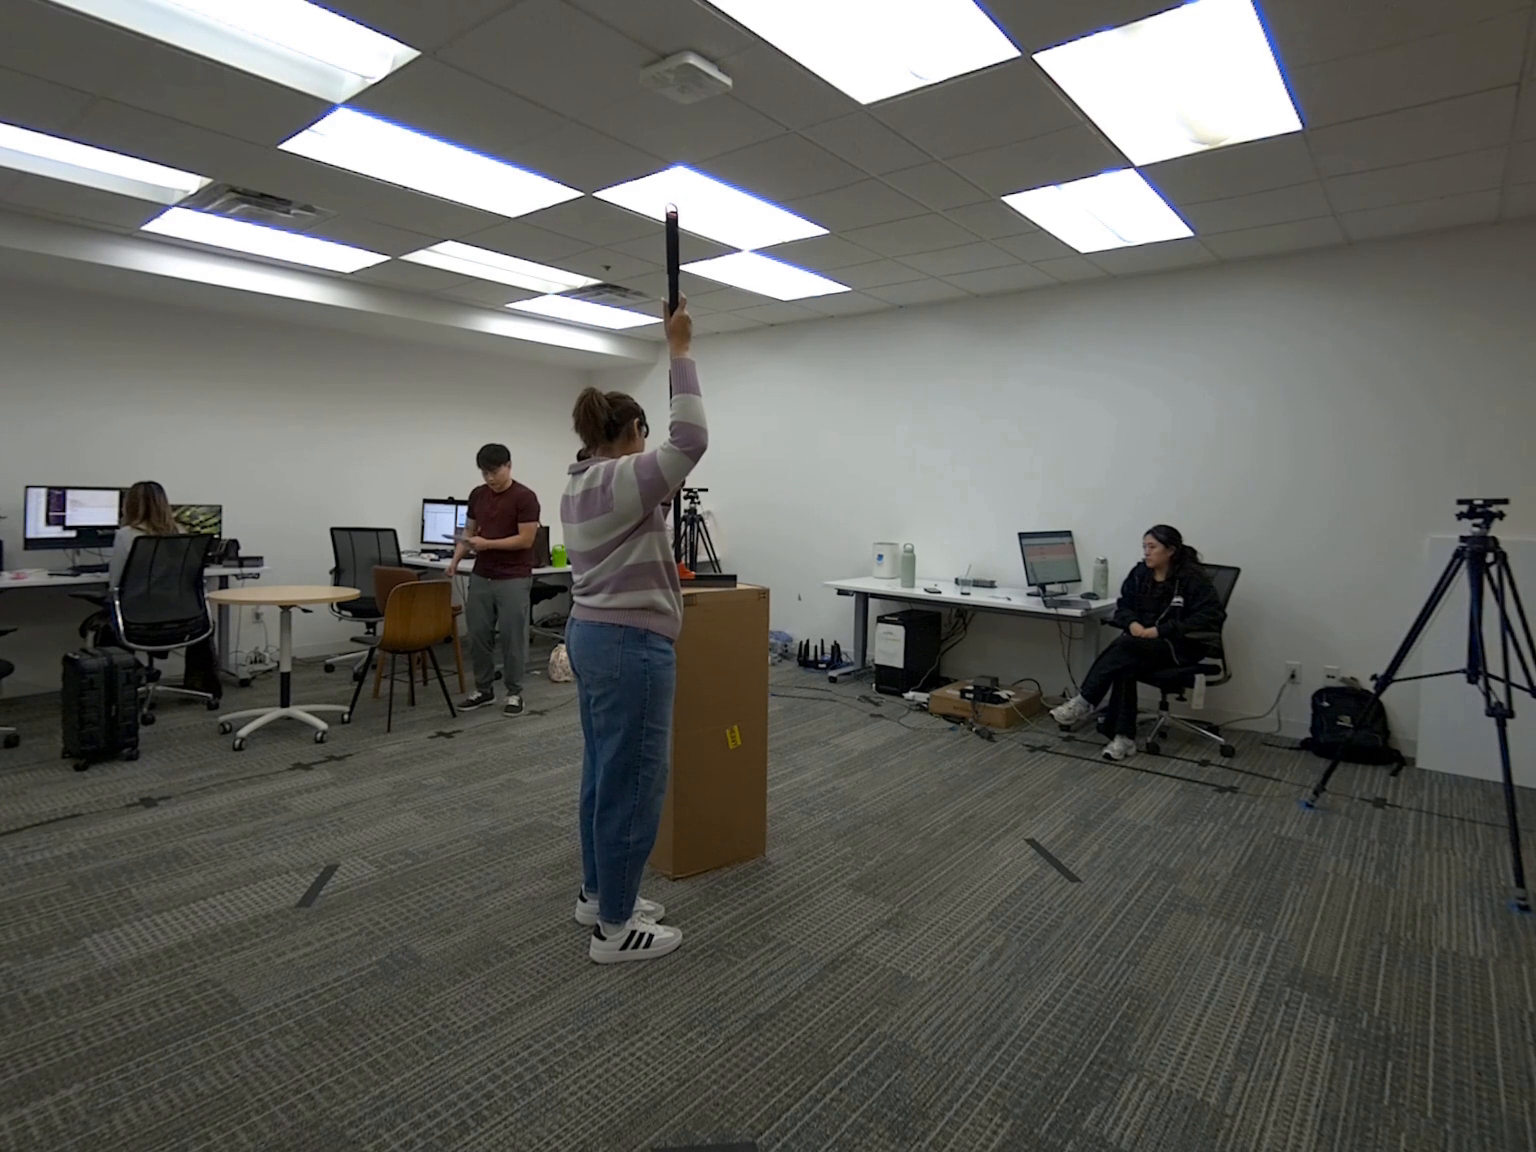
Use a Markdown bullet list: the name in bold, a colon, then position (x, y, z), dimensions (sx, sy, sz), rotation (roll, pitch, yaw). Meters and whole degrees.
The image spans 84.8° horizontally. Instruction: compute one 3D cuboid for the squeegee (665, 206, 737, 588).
- **squeegee**: position (-0.257, -0.418, 2.597), dimensions (0.435, 0.054, 1.498), rotation (0, -37, -5)
